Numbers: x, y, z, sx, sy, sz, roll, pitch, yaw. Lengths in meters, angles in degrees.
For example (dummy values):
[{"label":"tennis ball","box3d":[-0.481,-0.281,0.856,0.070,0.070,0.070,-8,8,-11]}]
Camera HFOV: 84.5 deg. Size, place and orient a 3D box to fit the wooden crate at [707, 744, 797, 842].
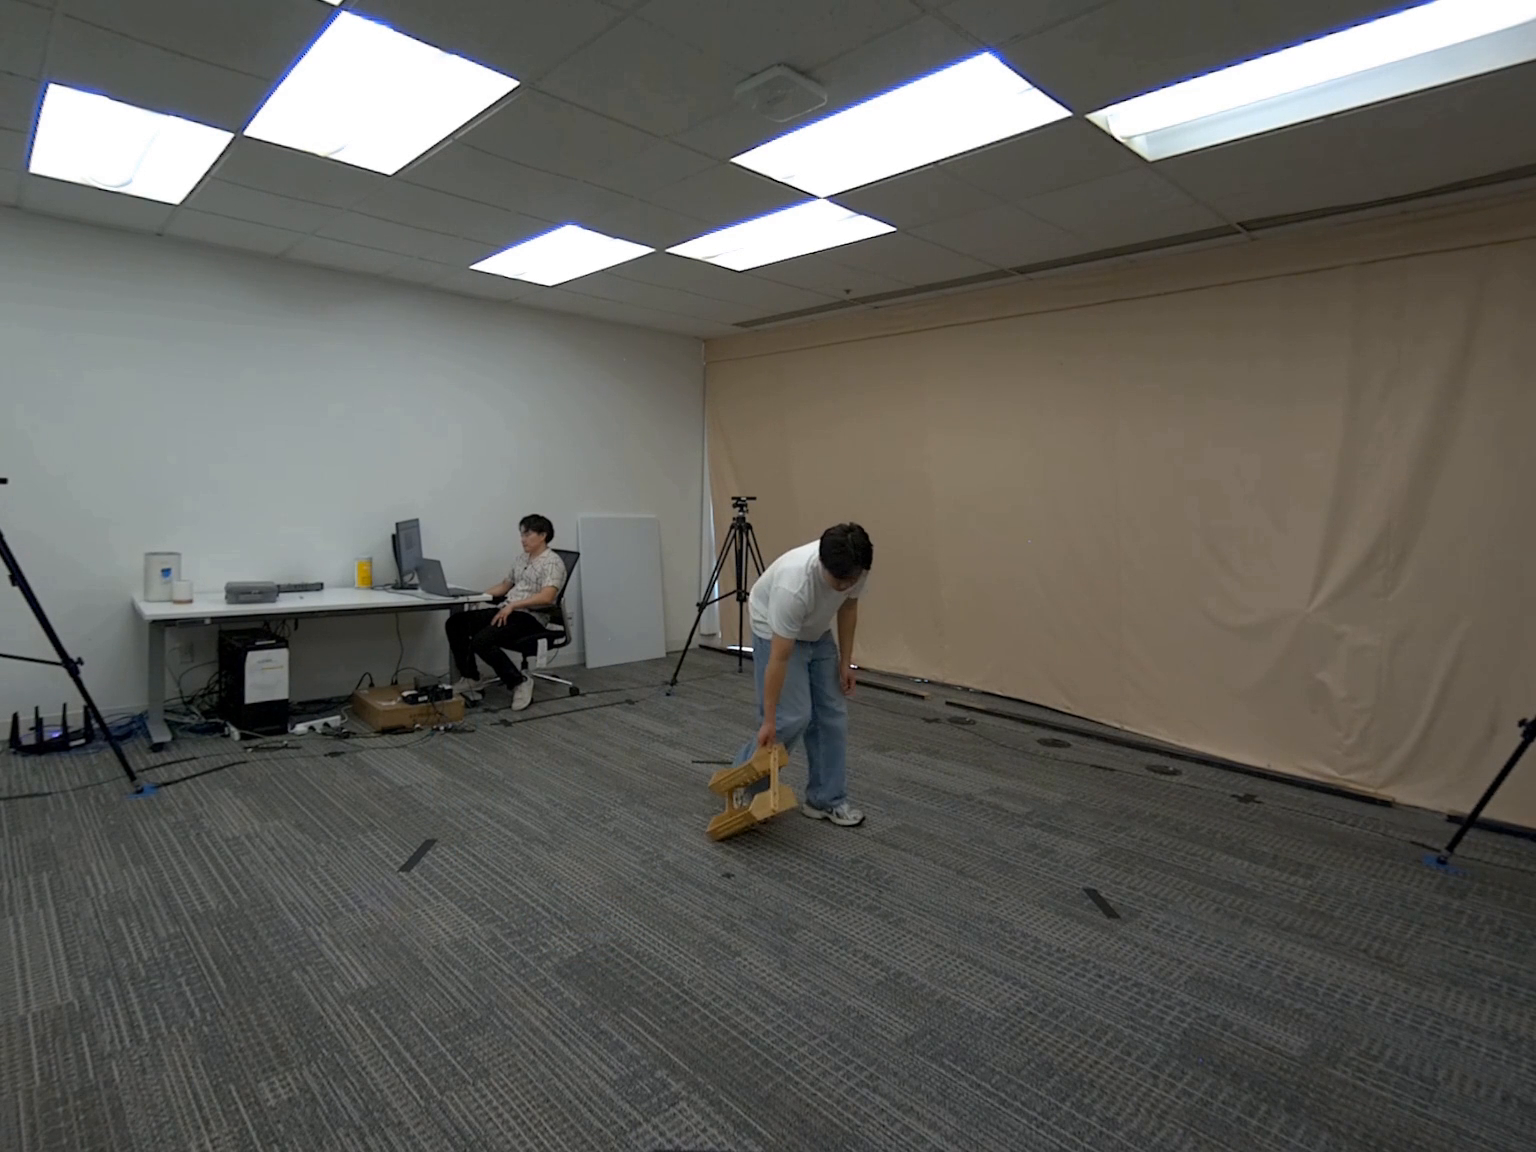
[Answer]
[{"label":"wooden crate","box3d":[-0.096,0.878,3.447,0.295,0.278,0.325,-4,-27,-45]}]
